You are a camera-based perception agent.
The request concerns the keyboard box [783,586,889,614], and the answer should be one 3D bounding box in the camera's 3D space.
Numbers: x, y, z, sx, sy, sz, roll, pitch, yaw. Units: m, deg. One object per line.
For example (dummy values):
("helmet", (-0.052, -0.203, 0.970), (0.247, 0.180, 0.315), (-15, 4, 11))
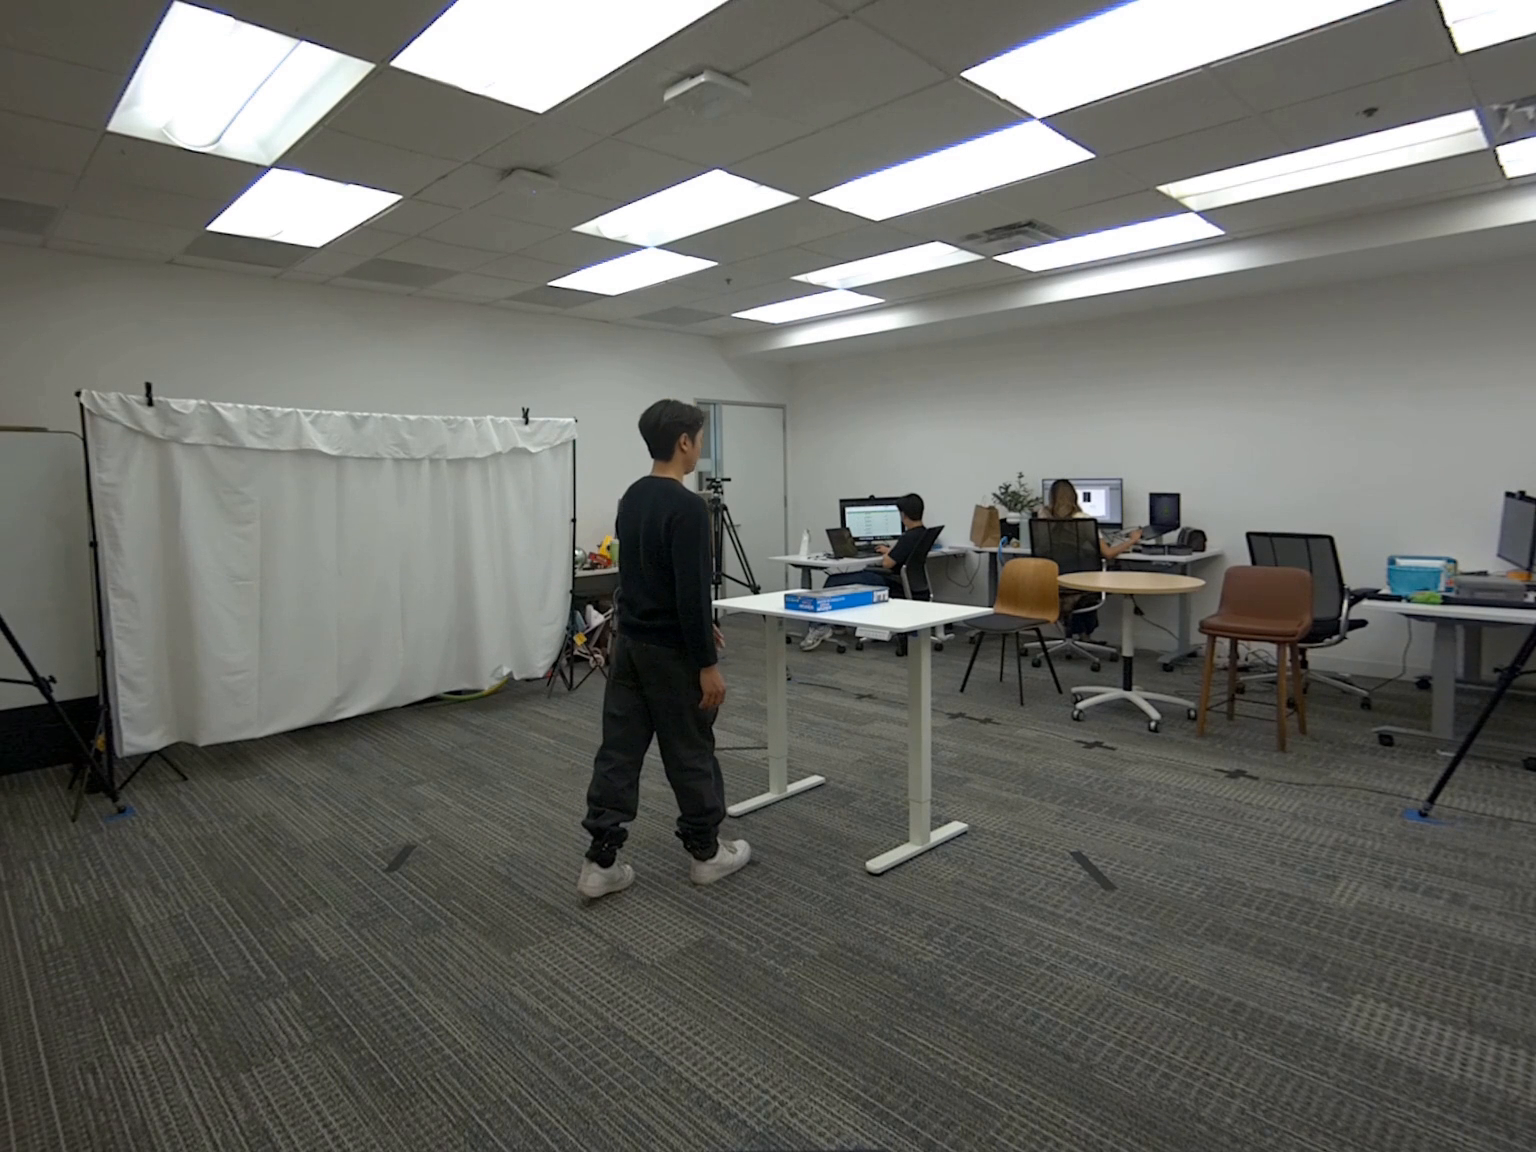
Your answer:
("keyboard box", (0.281, 0.088, 3.422), (0.425, 0.059, 0.181), (-6, 8, -41))
